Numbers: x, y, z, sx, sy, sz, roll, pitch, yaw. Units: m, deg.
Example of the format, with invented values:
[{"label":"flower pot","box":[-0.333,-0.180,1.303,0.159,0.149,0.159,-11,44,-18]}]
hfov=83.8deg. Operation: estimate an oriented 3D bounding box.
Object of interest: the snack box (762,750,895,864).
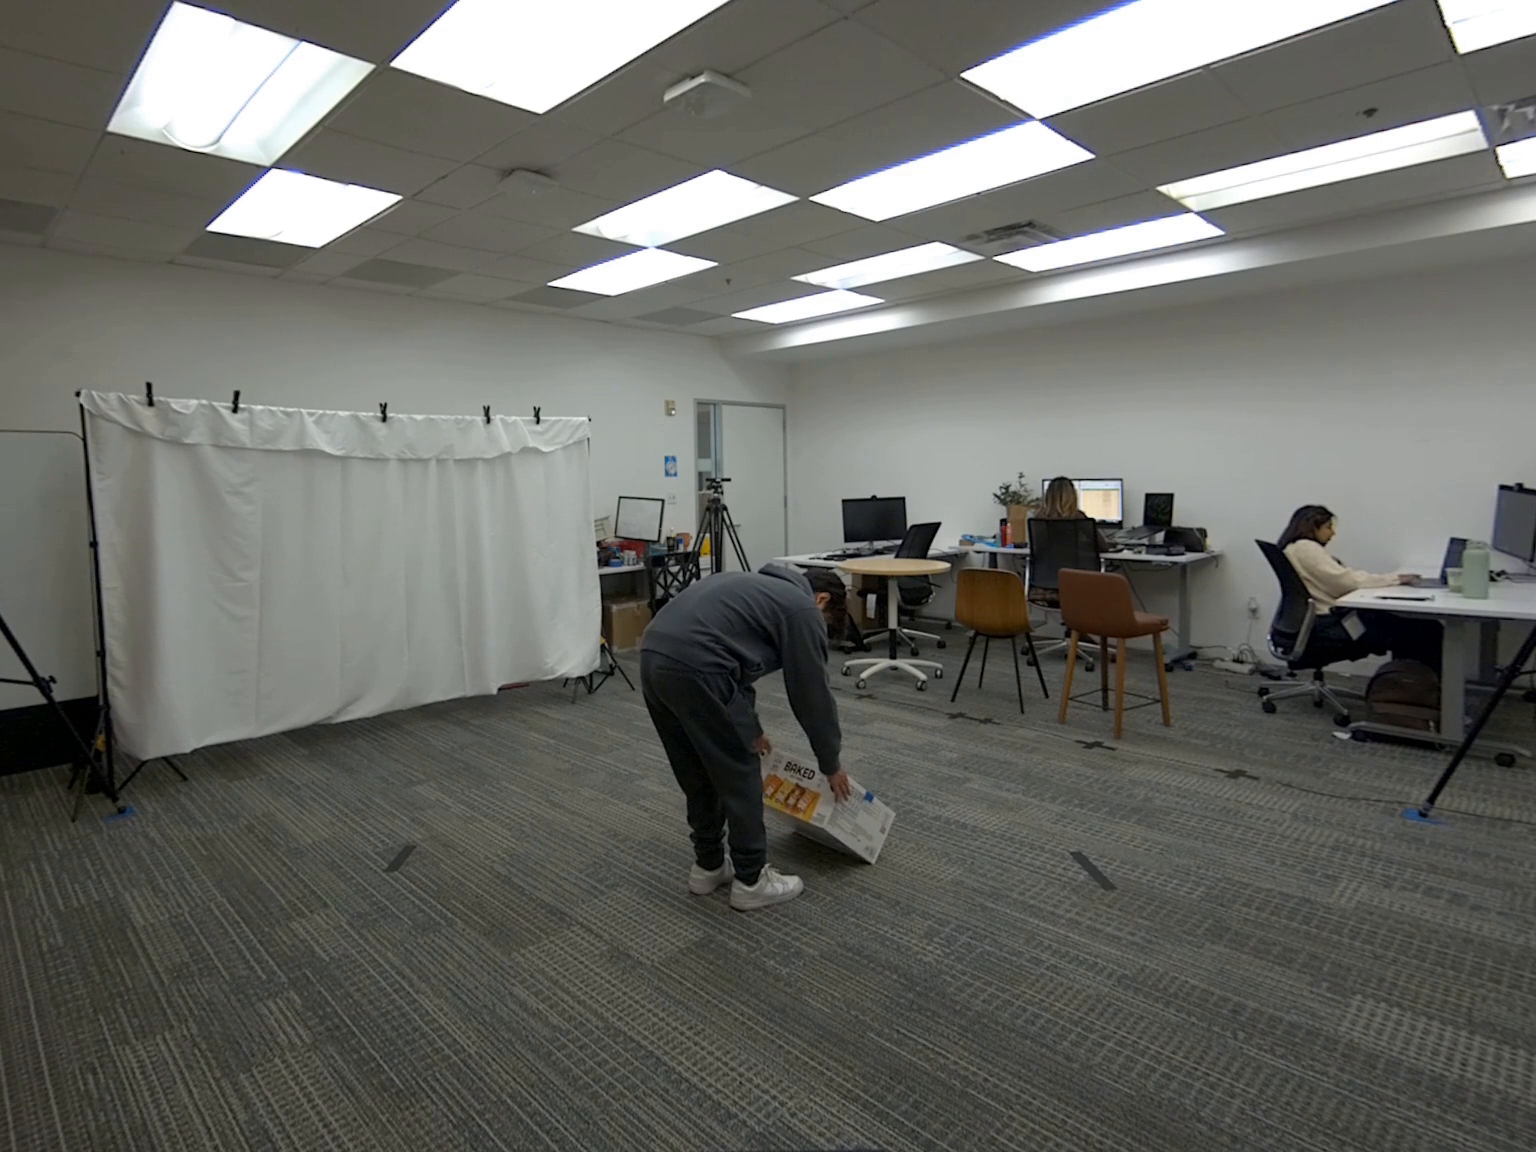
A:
[{"label":"snack box","box":[0.193,0.850,3.176,0.418,0.207,0.328,6,-29,49]}]
